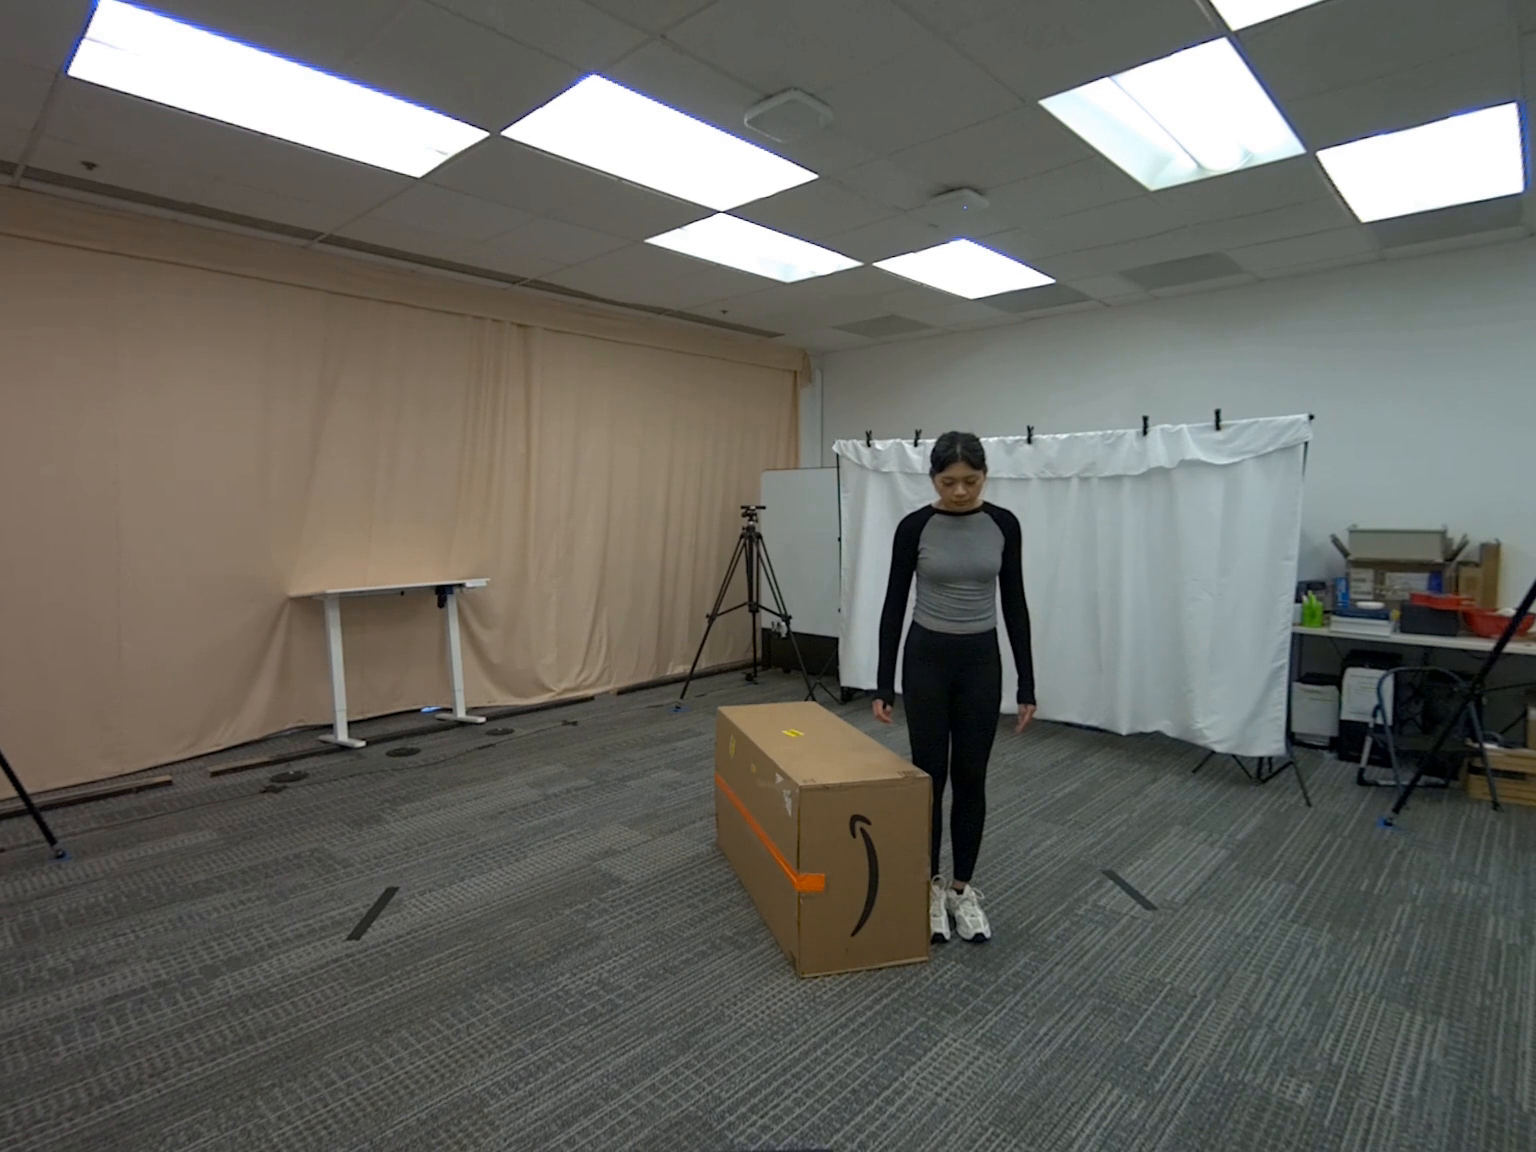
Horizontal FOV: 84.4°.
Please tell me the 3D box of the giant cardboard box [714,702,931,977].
[{"bbox_3d":[0.141,0.852,3.002,0.419,0.576,1.044,0,4,-16],"label":"giant cardboard box"}]
